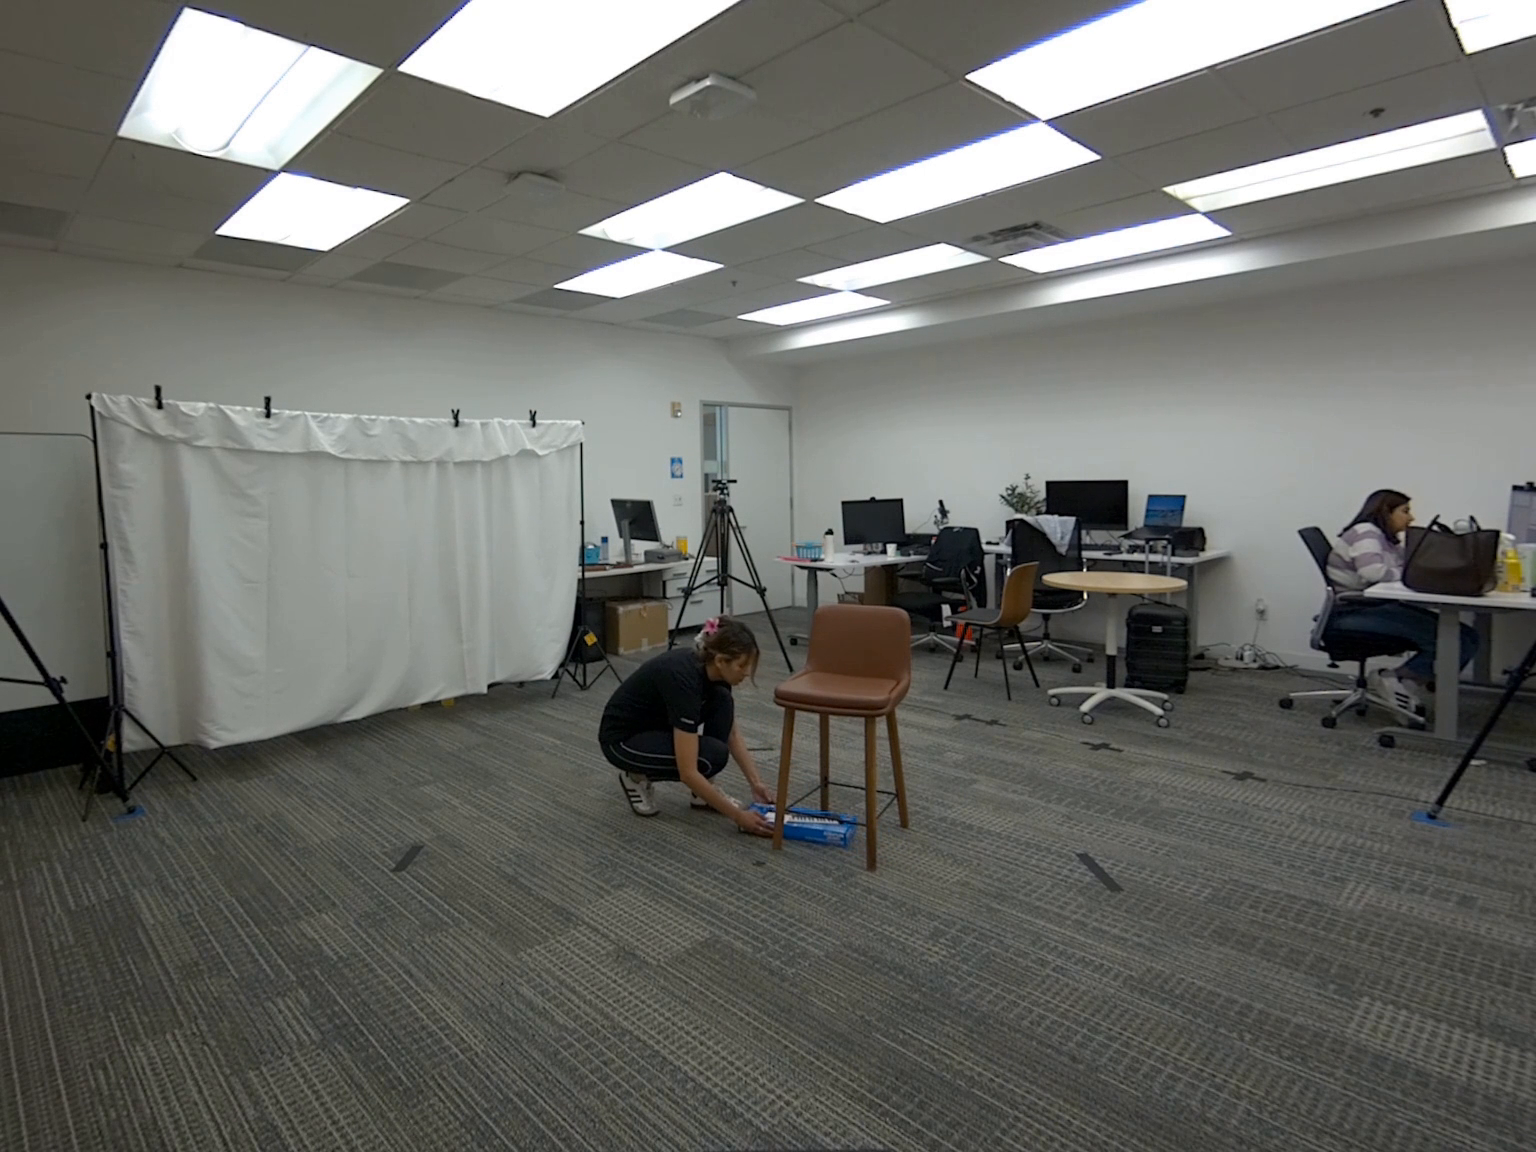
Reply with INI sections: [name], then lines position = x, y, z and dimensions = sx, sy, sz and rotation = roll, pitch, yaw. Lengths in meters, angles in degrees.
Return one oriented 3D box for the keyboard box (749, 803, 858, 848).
[keyboard box]
position = 0.119, 0.984, 3.387
dimensions = 0.446, 0.059, 0.173
rotation = 2, 6, 21
